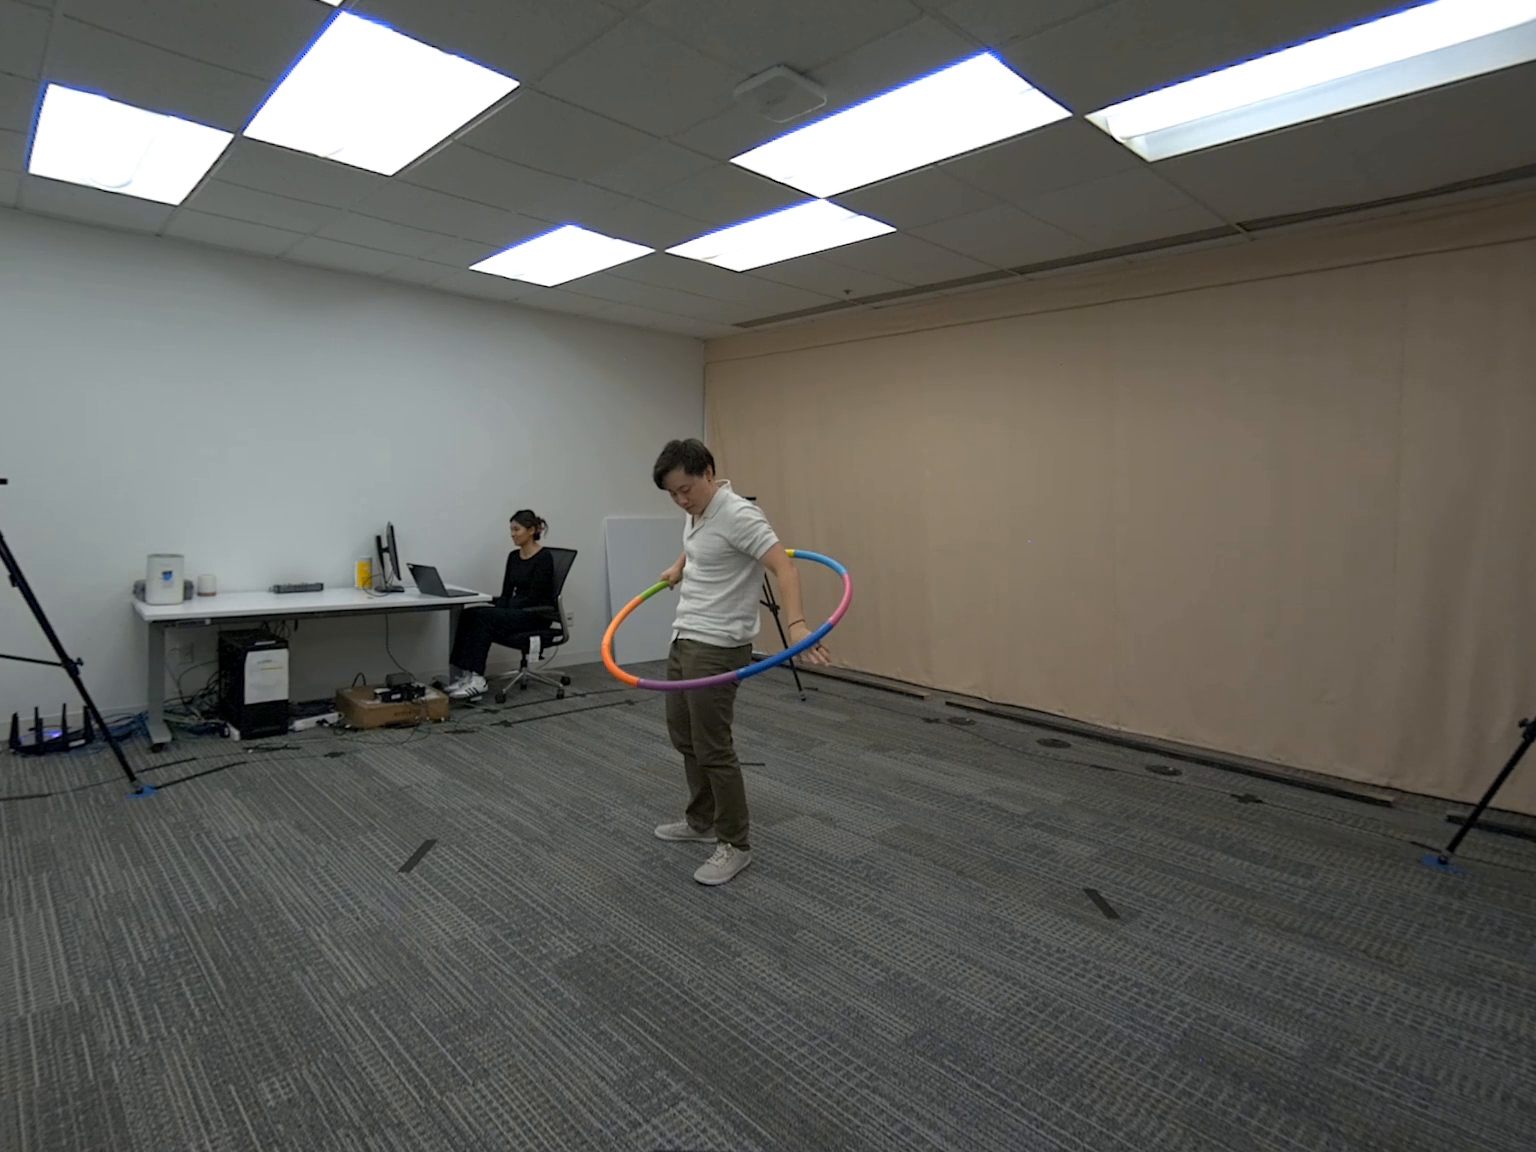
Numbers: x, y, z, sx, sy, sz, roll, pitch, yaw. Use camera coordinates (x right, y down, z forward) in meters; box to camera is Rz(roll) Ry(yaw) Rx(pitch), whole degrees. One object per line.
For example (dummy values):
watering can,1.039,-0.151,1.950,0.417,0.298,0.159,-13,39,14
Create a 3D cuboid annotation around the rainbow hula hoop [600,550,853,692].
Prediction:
rainbow hula hoop,-0.171,0.135,3.194,0.982,0.035,0.995,-16,25,6
